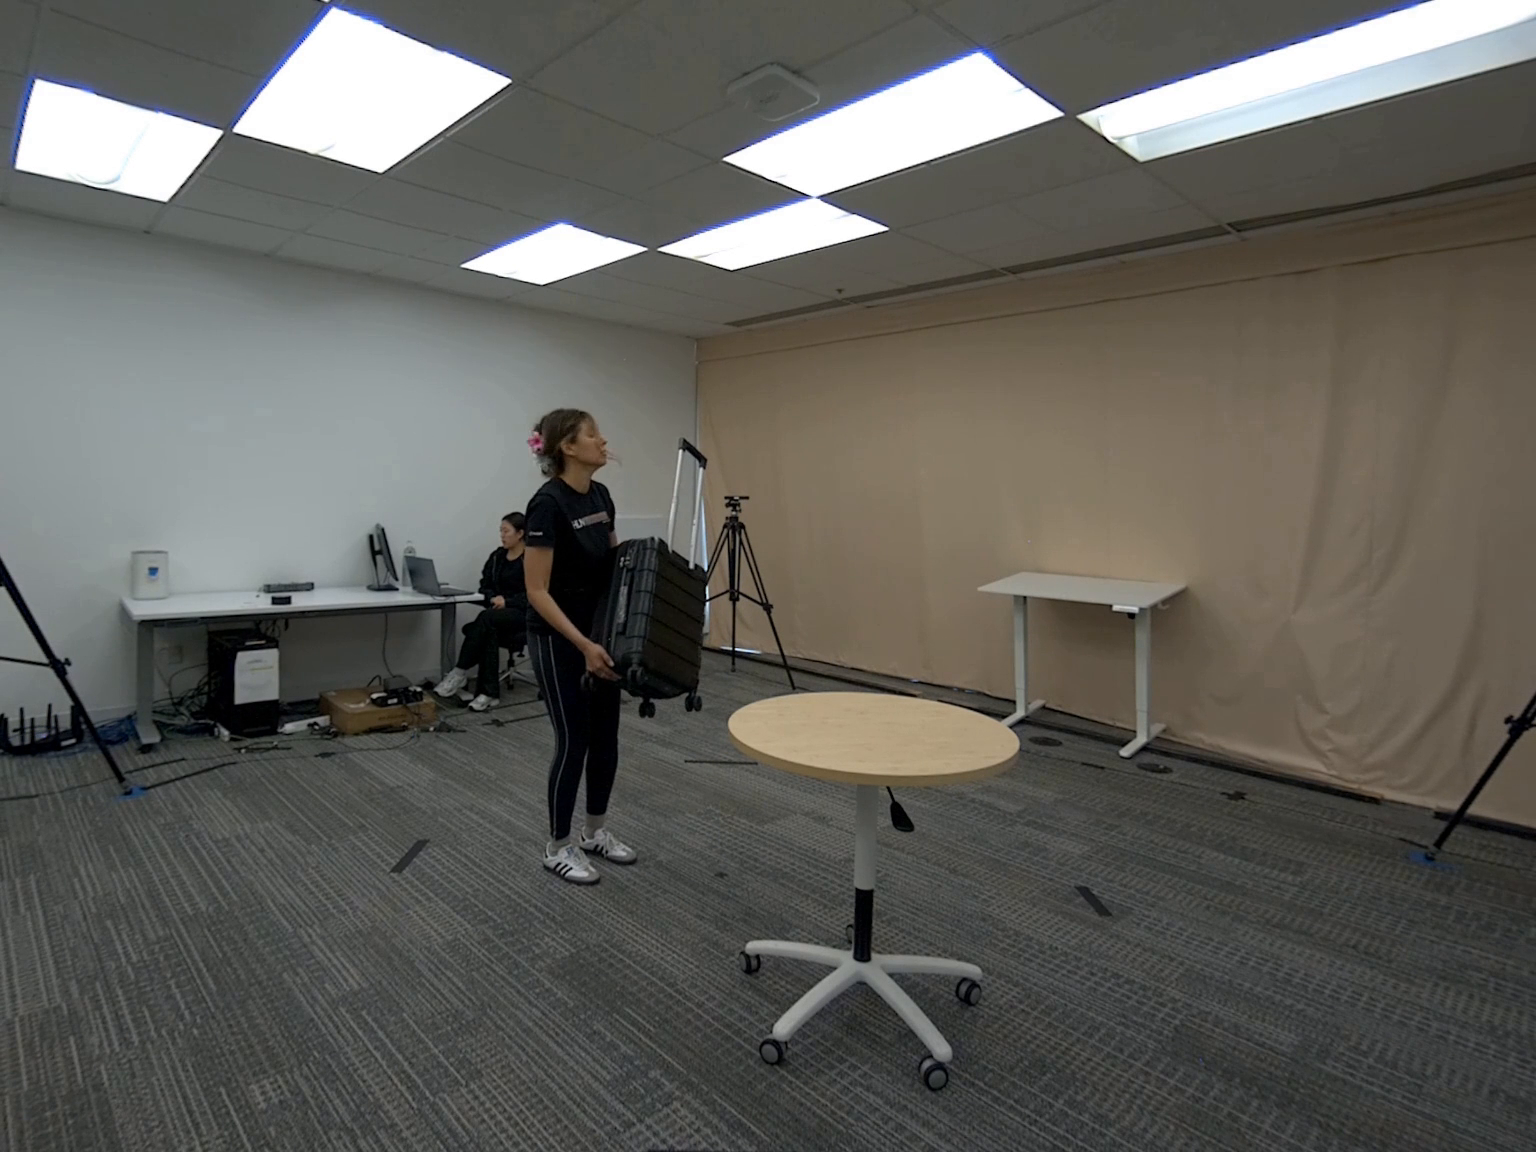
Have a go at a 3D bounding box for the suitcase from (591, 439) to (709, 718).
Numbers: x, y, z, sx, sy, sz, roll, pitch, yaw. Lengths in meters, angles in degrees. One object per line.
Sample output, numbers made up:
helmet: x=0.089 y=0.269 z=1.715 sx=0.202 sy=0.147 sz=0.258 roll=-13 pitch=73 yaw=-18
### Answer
suitcase: x=-0.413 y=-0.021 z=3.016 sx=0.261 sy=0.996 sz=0.372 roll=-17 pitch=-34 yaw=31
